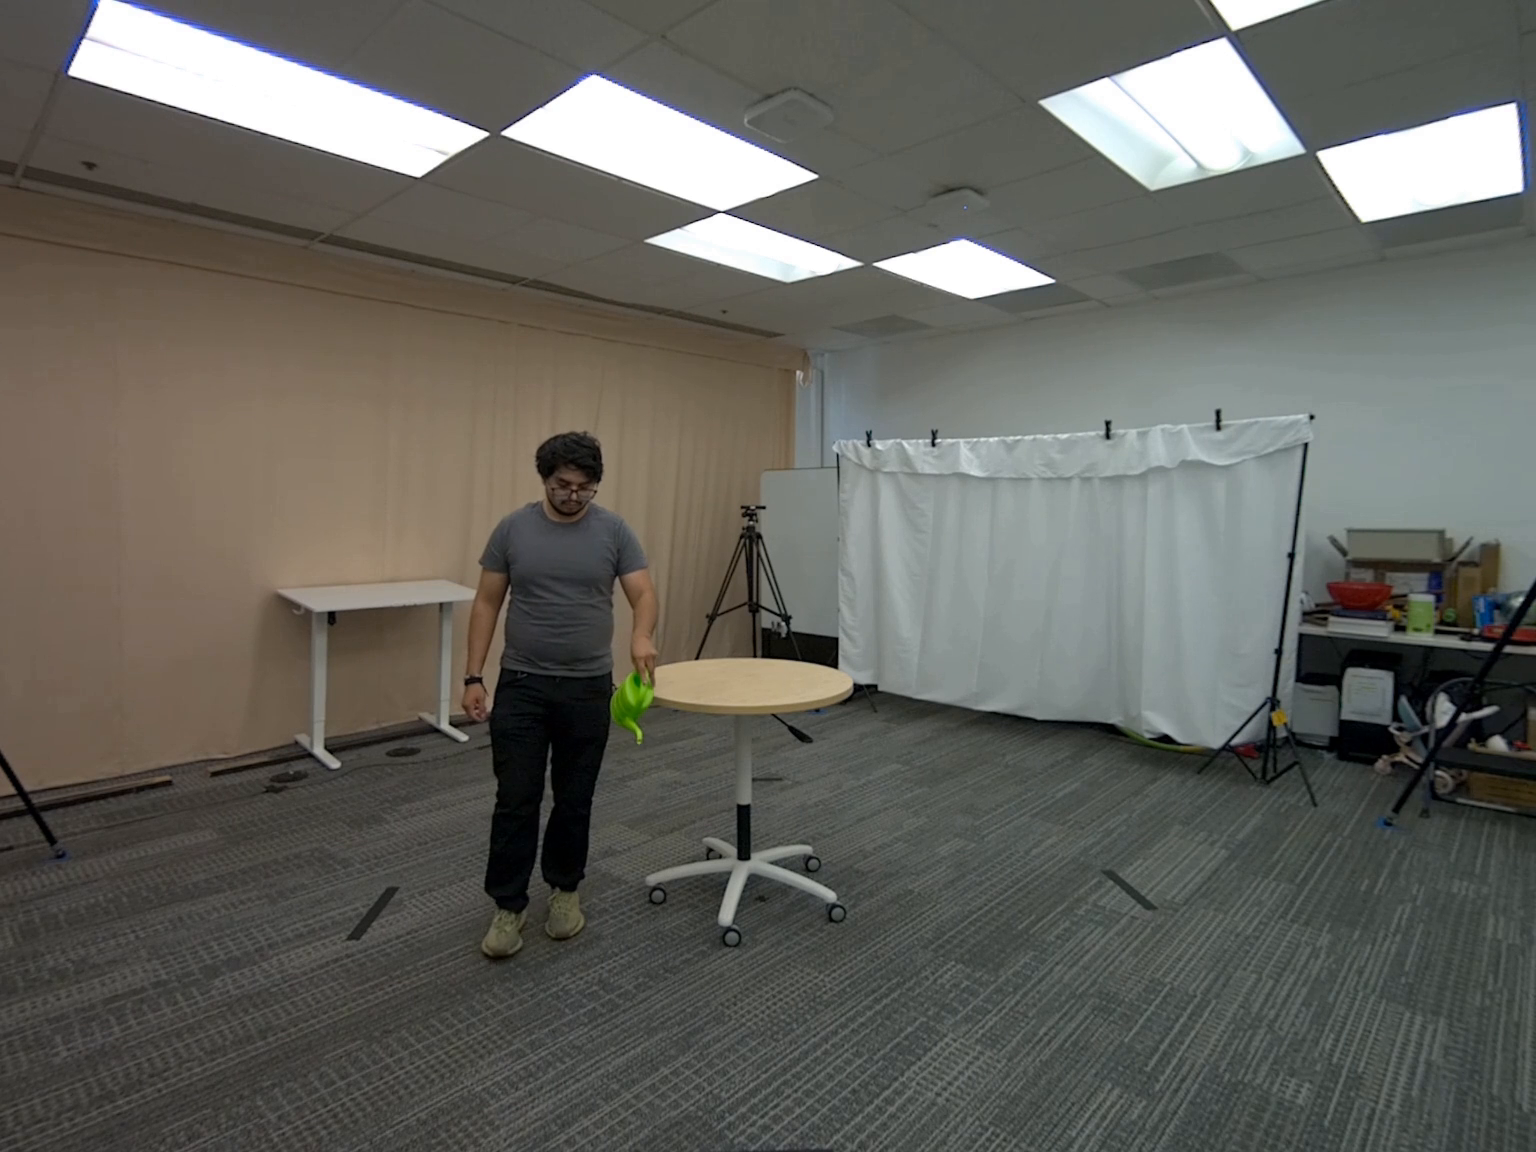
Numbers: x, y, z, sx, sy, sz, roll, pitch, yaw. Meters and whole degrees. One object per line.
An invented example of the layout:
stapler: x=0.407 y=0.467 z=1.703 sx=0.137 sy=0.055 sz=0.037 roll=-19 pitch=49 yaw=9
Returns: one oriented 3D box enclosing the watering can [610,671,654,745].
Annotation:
watering can: x=-0.399 y=0.388 z=2.454 sx=0.097 sy=0.280 sz=0.177 roll=26 pitch=-44 yaw=-12
